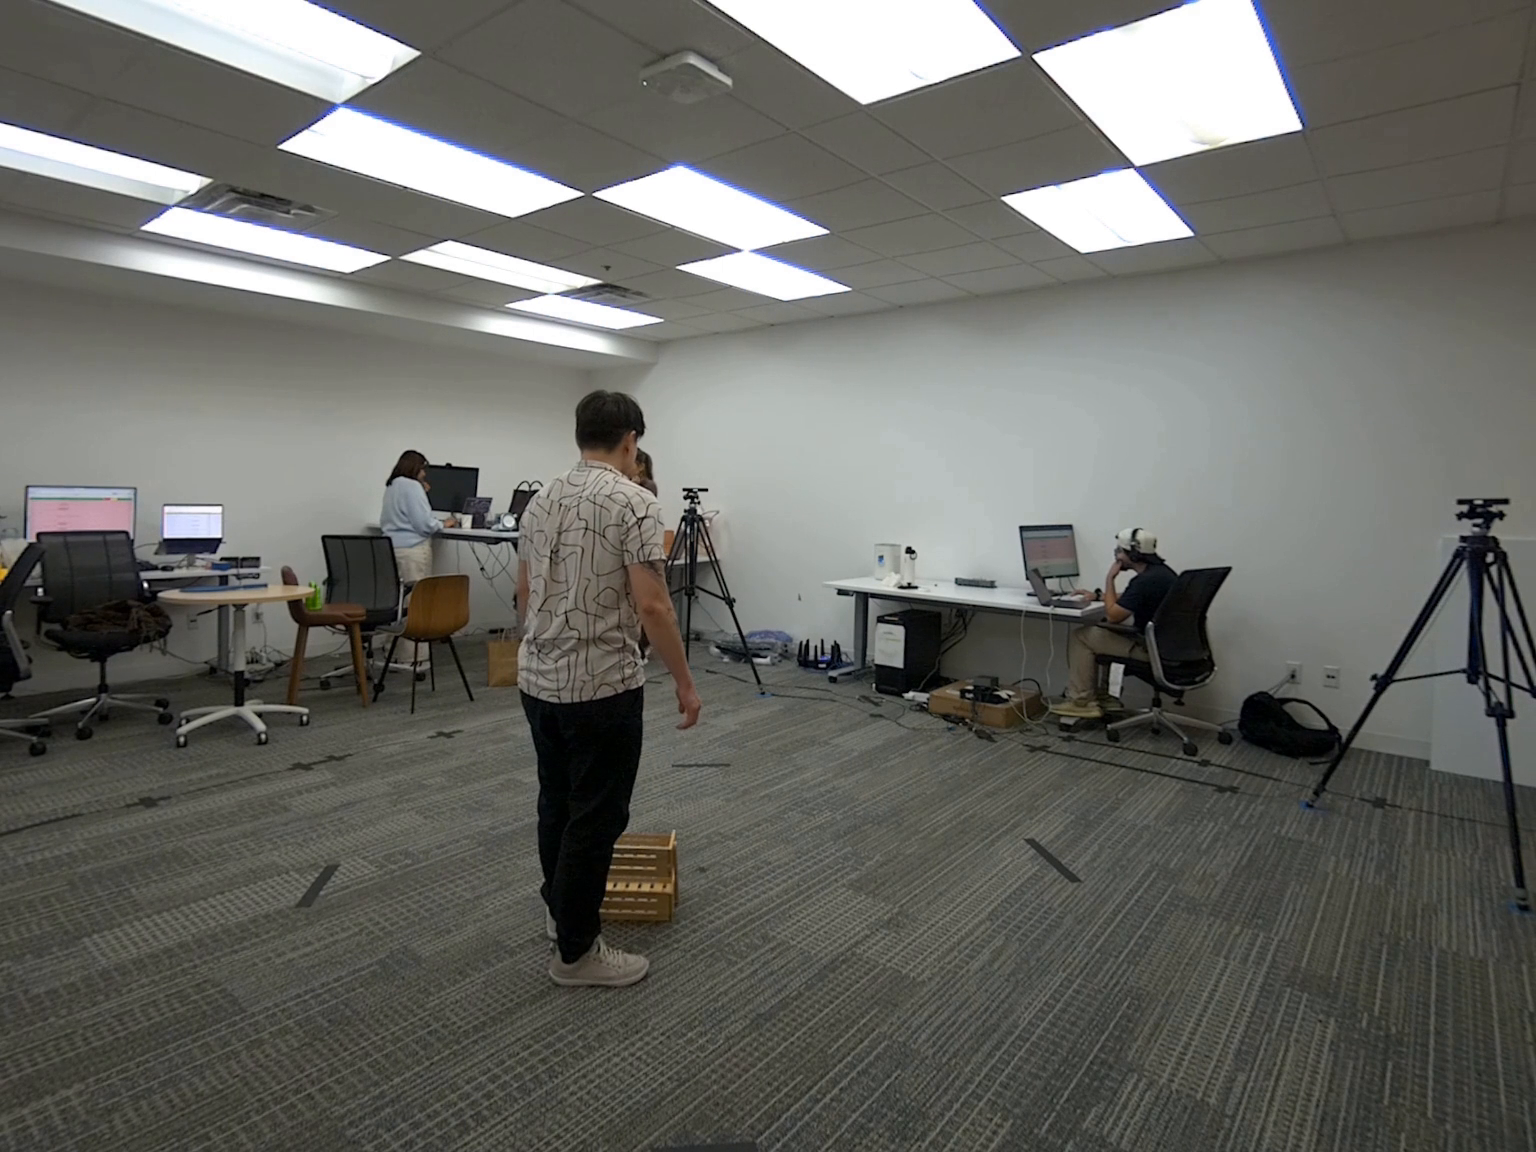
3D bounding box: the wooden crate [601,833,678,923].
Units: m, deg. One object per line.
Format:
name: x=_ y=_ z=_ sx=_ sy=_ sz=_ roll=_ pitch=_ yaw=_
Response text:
wooden crate: x=-0.477 y=0.958 z=2.822 sx=0.325 sy=0.272 sz=0.303 roll=0 pitch=7 yaw=0
